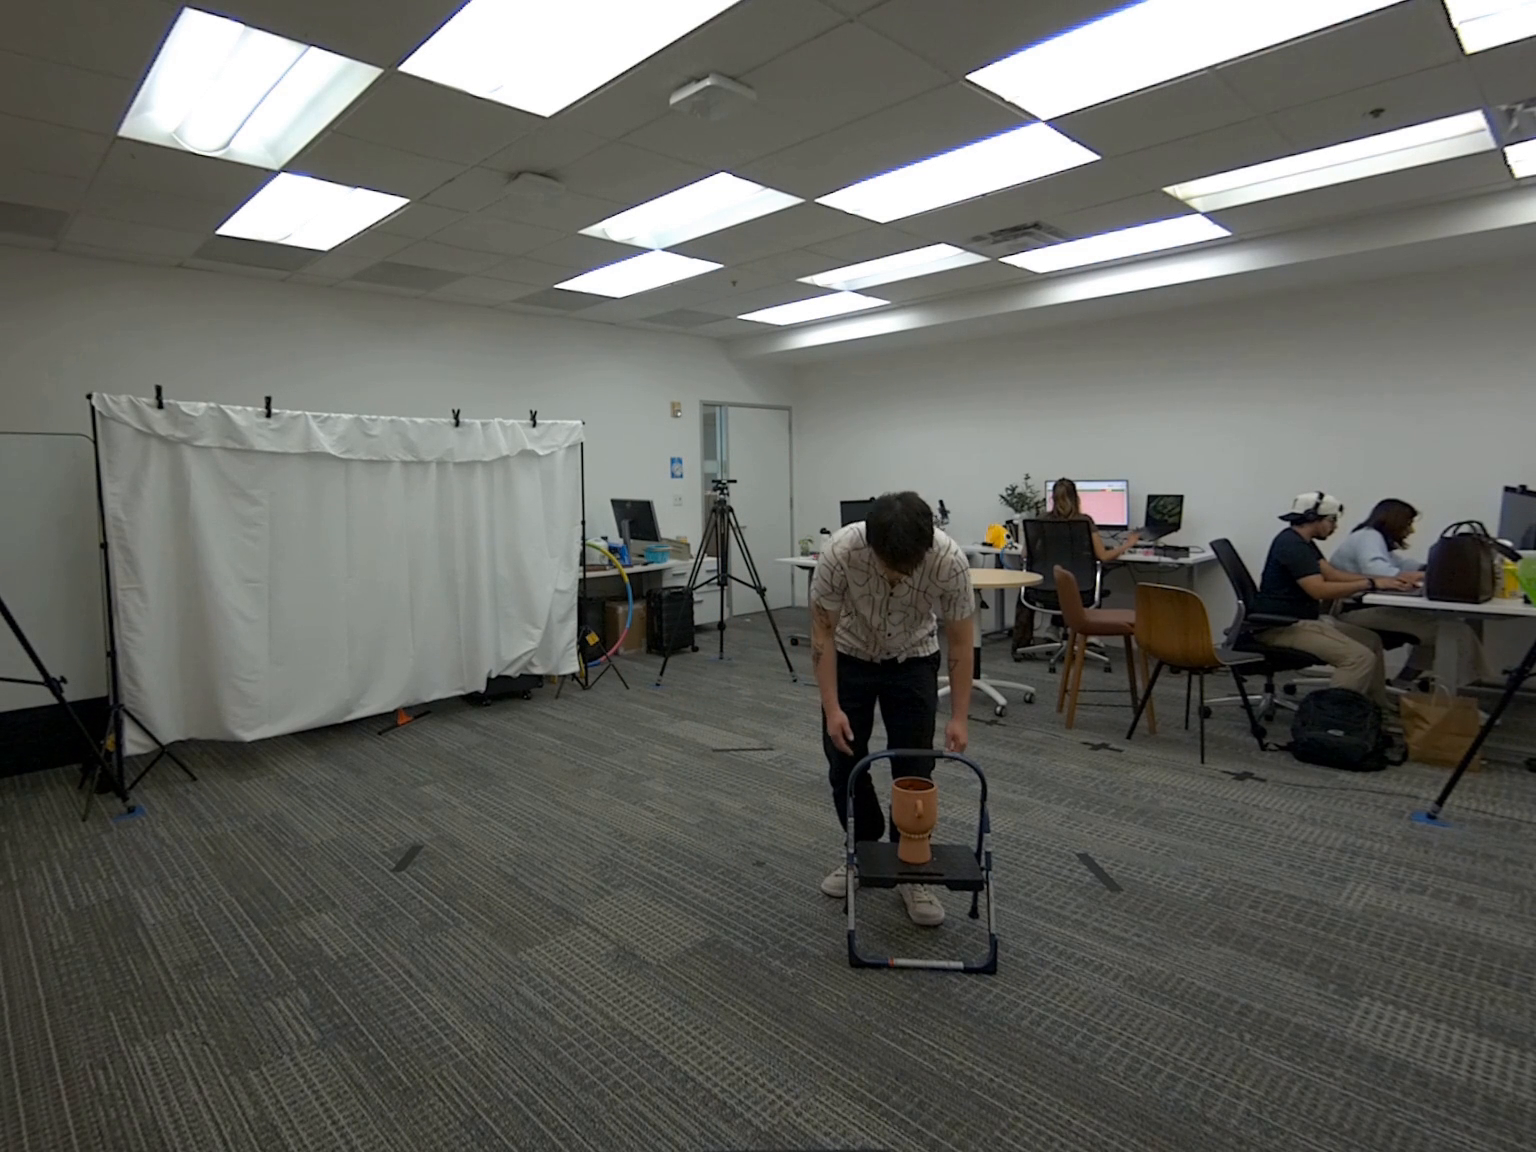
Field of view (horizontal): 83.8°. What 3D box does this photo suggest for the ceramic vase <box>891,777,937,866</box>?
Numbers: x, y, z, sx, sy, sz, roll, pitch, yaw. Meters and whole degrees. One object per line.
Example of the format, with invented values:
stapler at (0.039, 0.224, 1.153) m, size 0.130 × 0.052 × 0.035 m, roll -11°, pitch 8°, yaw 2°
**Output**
ceramic vase at (0.437, 0.726, 2.551) m, size 0.139 × 0.219 × 0.155 m, roll 4°, pitch 6°, yaw 41°
